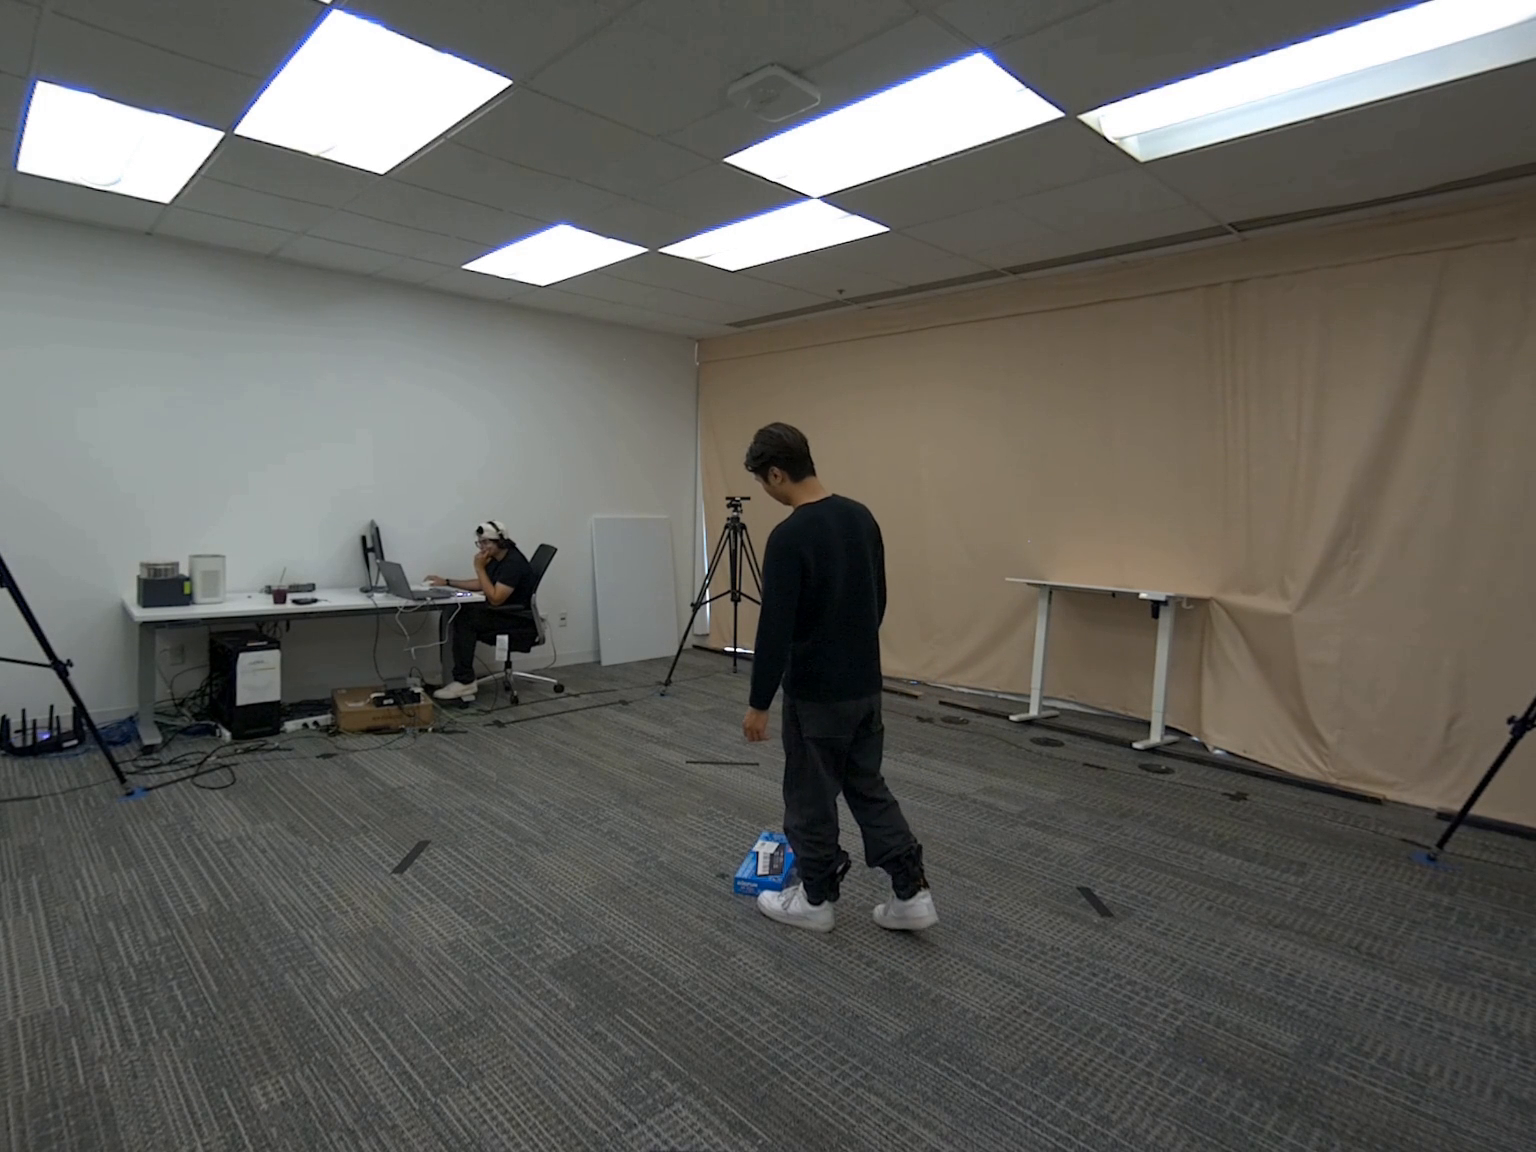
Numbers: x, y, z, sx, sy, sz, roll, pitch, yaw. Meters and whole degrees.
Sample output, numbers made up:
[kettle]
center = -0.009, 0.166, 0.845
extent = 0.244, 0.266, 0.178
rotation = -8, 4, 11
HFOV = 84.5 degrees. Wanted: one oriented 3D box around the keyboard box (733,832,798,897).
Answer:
[keyboard box]
center = 0.004, 1.073, 3.148
extent = 0.178, 0.059, 0.433
rotation = 1, 5, 13
